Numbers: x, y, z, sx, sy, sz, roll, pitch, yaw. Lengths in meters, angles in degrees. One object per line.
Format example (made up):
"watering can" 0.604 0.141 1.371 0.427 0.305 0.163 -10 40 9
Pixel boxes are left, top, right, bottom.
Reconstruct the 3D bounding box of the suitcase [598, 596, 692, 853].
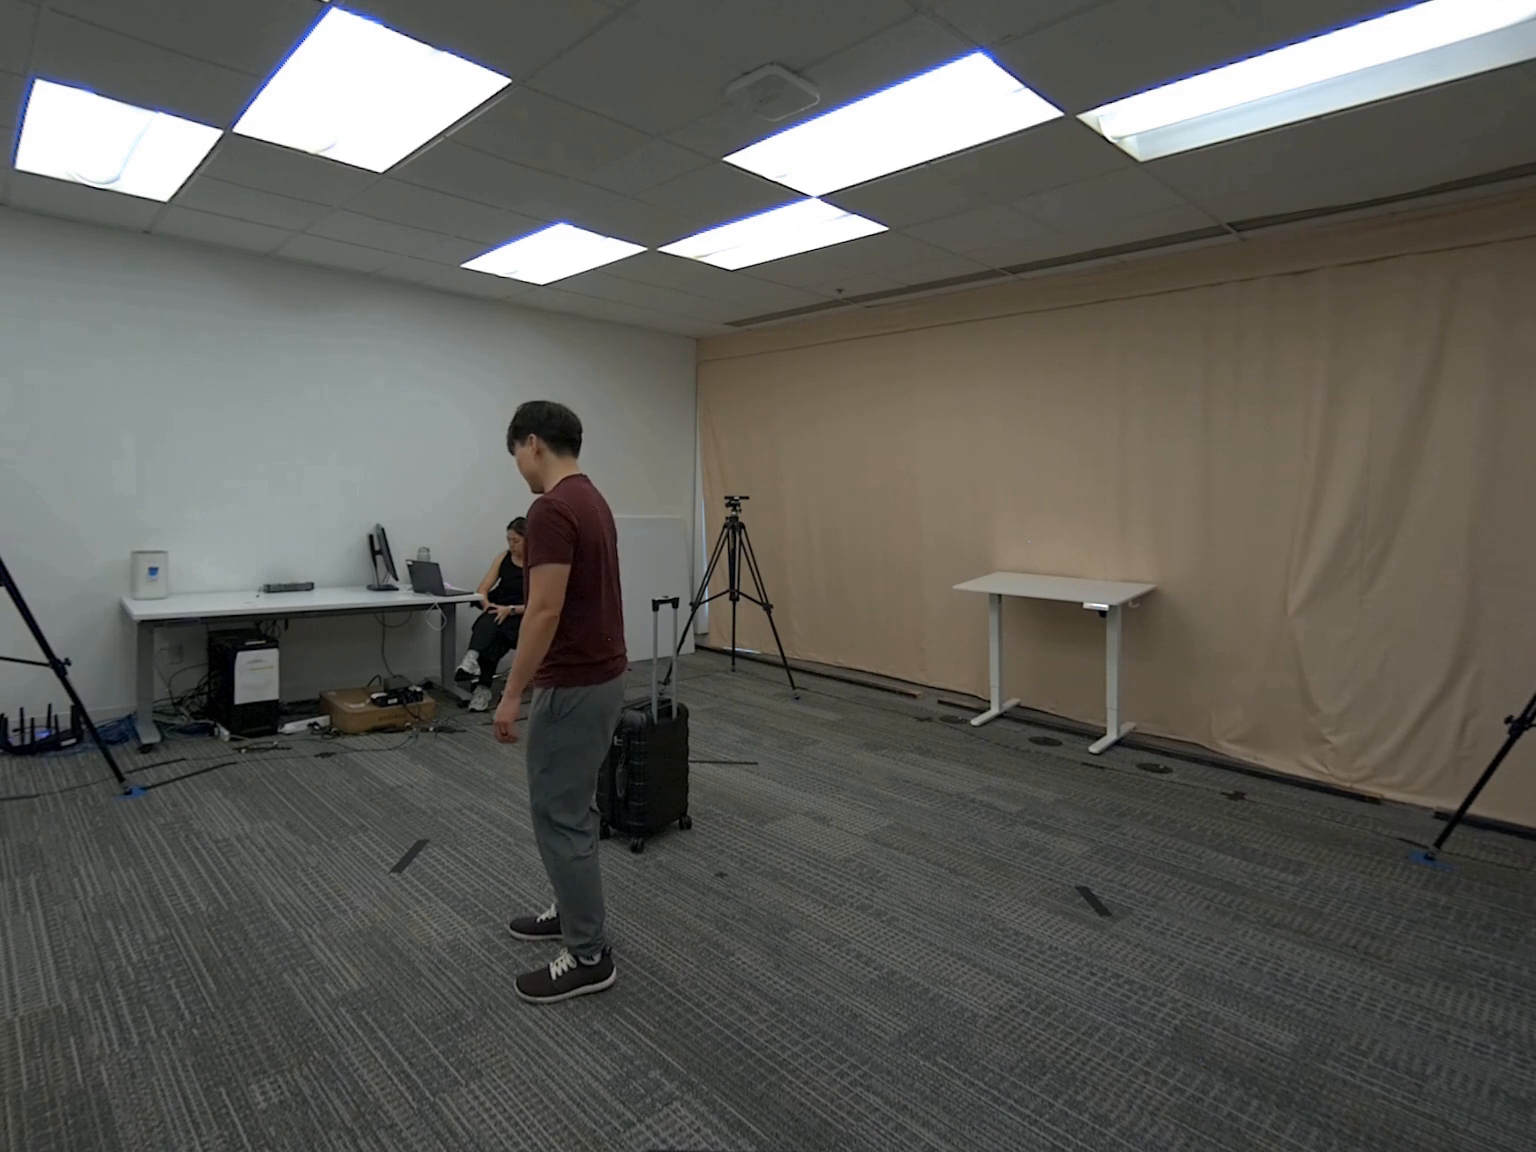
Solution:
"suitcase" -0.524 0.582 3.472 0.263 0.978 0.376 0 1 33
